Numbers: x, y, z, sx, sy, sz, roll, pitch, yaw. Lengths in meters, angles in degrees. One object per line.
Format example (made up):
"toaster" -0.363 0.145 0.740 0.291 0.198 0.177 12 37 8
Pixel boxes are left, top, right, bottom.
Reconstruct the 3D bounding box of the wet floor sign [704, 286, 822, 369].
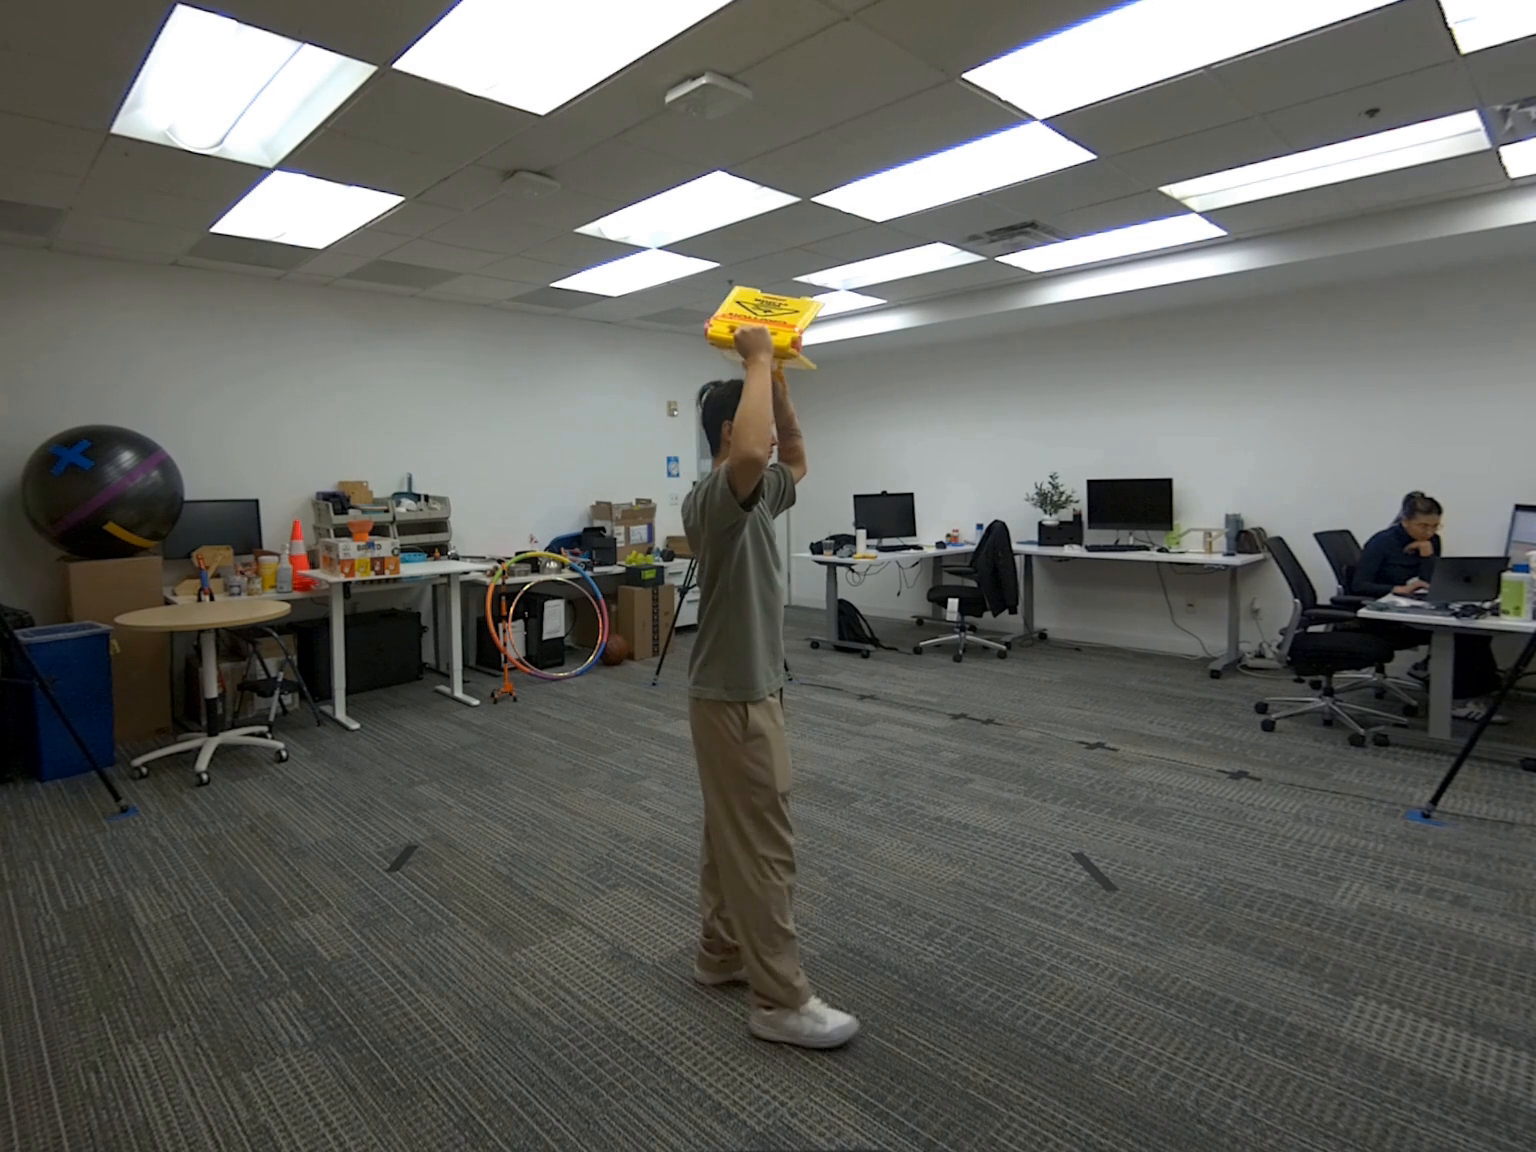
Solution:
"wet floor sign" -0.011 -0.650 2.293 0.283 0.286 0.652 9 16 1
